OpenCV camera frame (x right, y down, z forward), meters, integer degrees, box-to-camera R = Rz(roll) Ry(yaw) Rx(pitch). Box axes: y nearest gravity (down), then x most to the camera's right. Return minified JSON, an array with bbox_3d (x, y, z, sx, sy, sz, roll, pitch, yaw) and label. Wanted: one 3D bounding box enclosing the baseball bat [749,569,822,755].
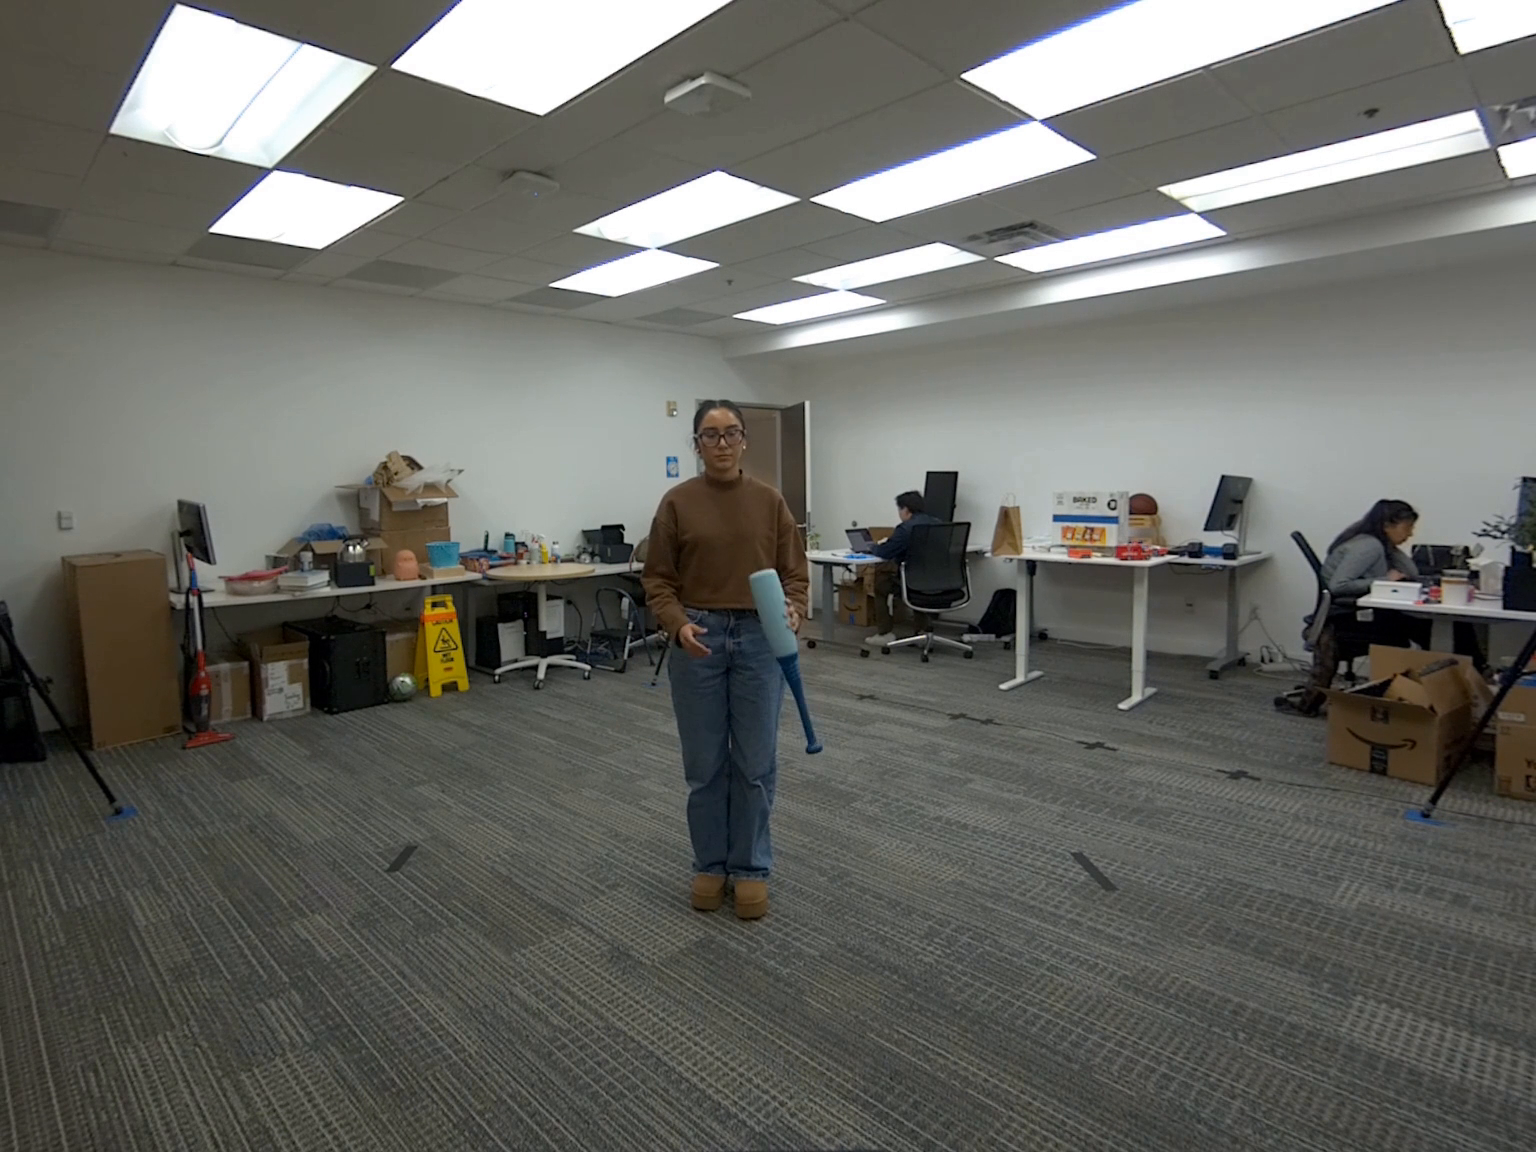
[{"bbox_3d":[0.054,0.244,2.490,0.089,0.545,0.089,-14,-3,-2],"label":"baseball bat"}]
